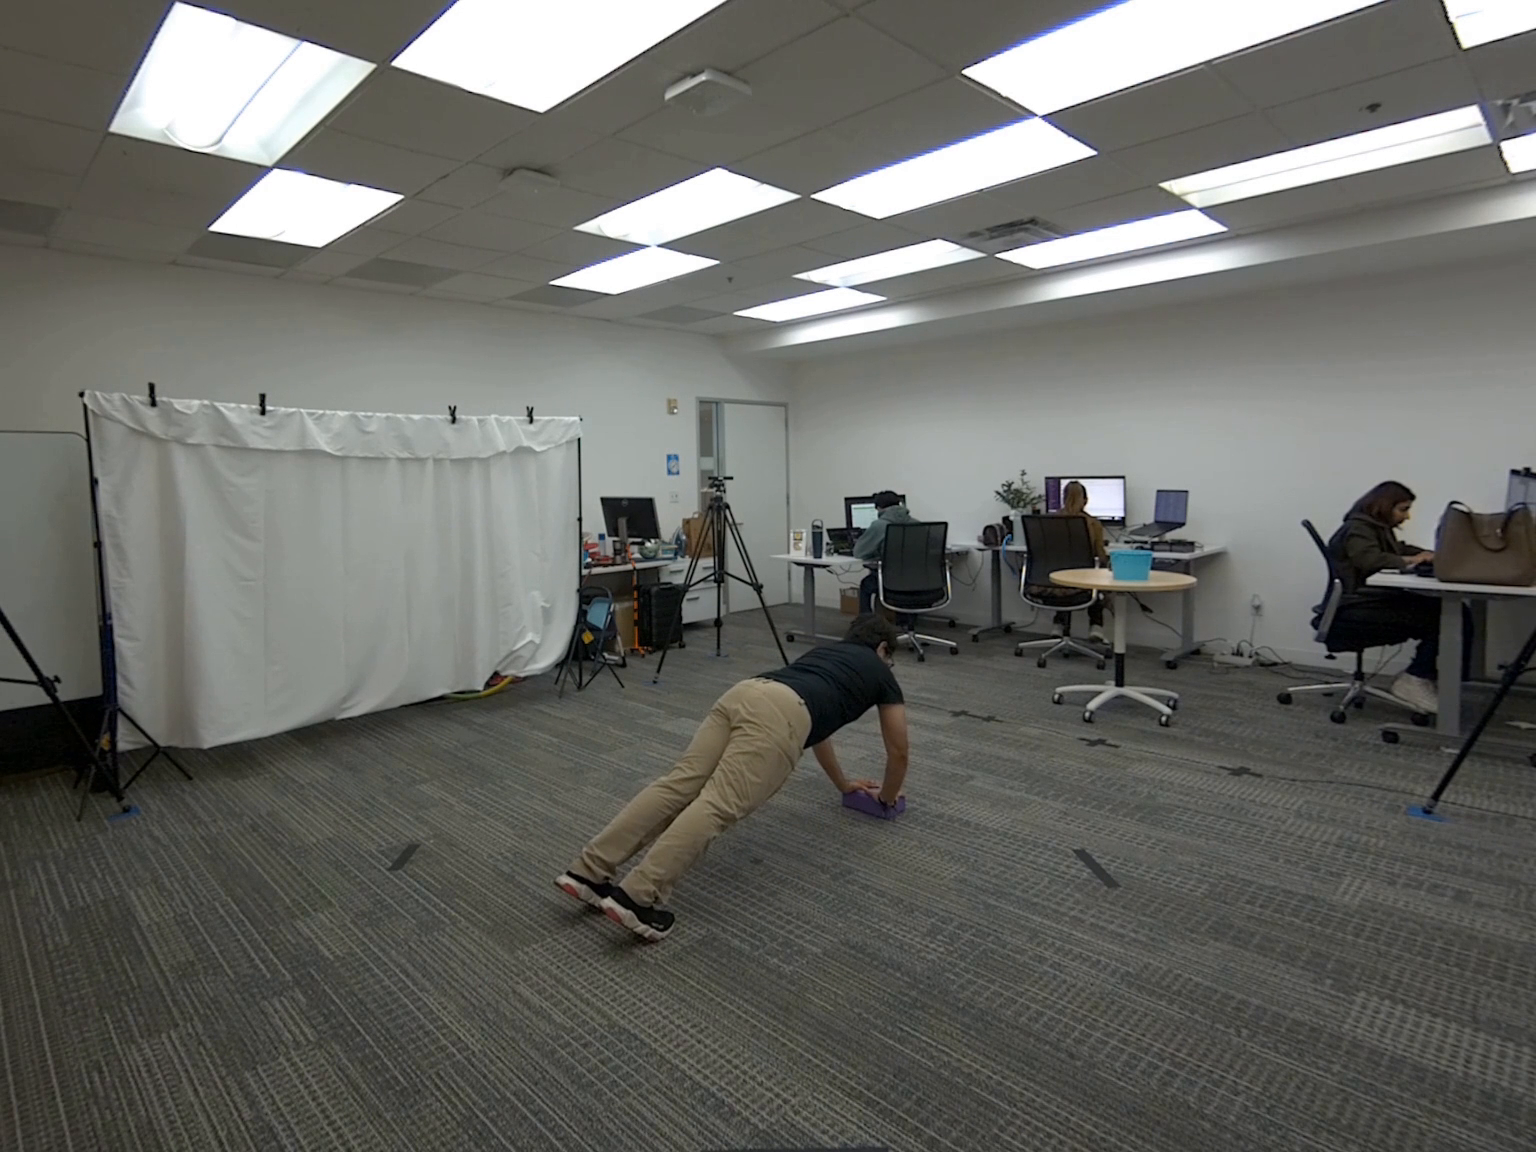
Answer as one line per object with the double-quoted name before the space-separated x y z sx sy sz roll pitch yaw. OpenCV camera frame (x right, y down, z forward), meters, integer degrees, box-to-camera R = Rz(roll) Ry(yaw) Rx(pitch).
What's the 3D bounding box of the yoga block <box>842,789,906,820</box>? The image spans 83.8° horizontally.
"yoga block" 0.443 0.937 3.585 0.236 0.076 0.145 4 5 43
